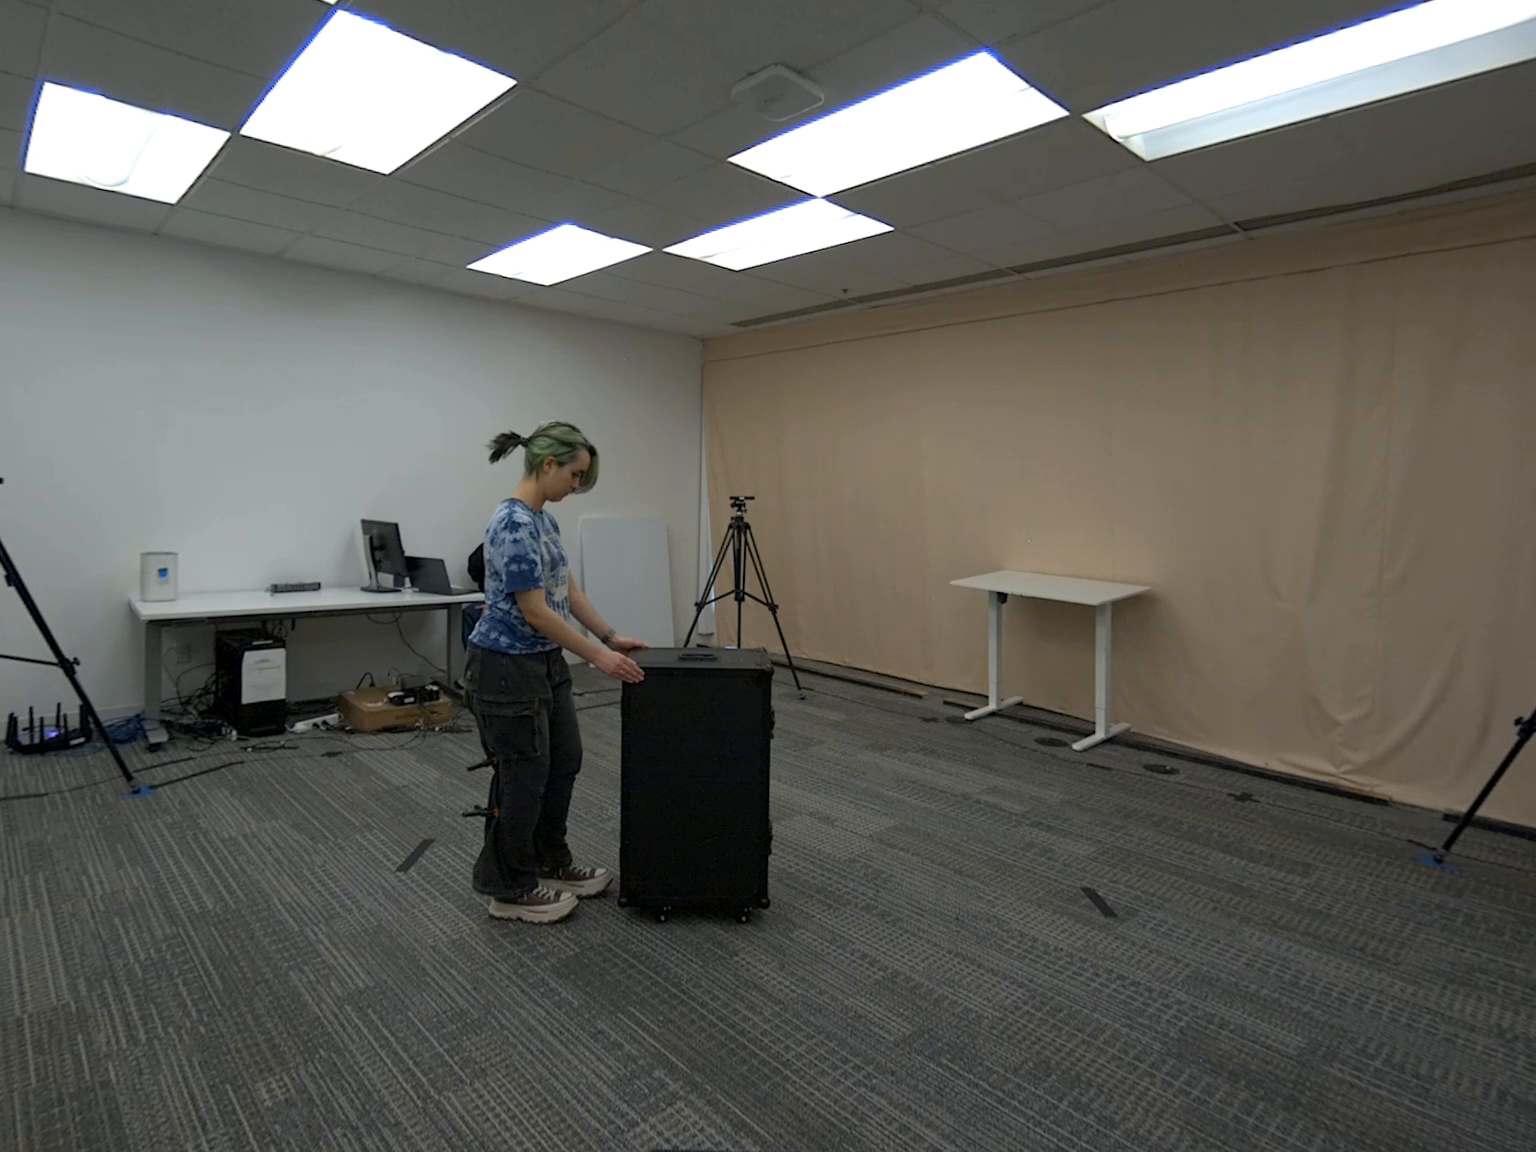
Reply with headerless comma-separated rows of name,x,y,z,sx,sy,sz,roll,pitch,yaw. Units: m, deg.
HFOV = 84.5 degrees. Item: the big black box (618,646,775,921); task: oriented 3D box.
big black box,-0.254,0.703,2.877,0.521,0.859,0.397,1,3,-1
